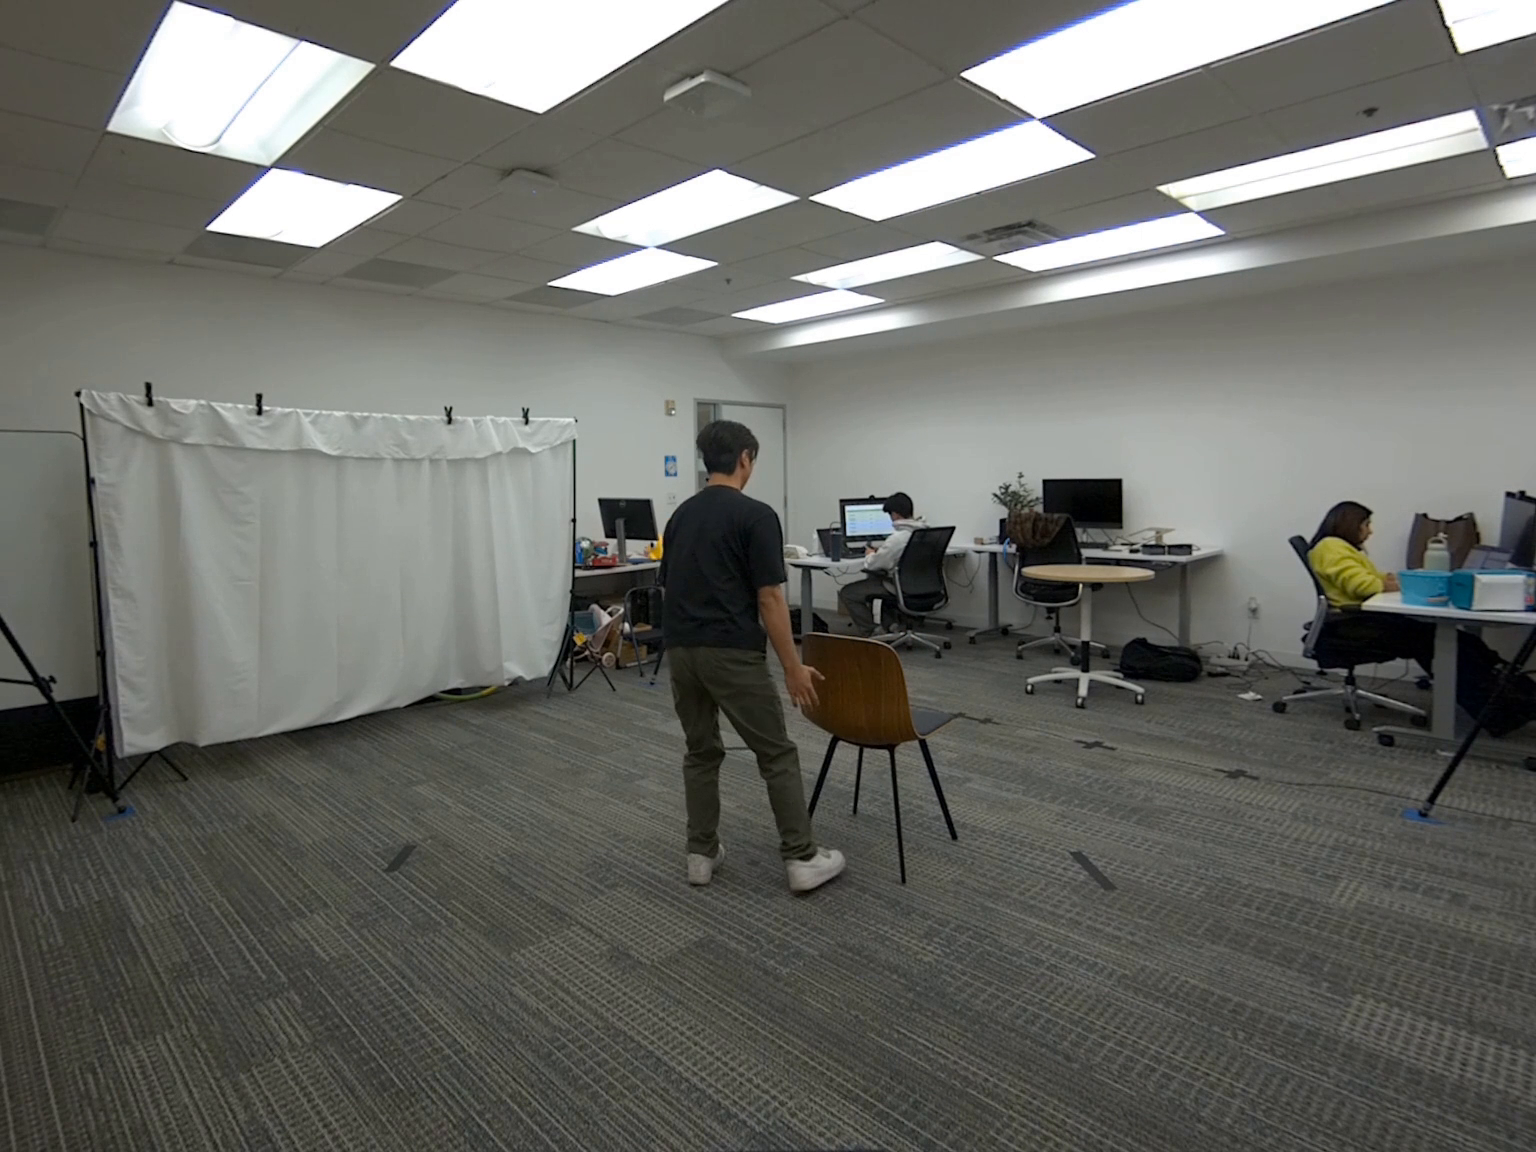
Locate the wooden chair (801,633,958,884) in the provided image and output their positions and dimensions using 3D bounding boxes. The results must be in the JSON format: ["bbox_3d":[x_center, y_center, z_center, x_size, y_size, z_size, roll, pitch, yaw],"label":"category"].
[{"bbox_3d":[0.413,0.595,3.214,0.492,0.871,0.512,2,9,36],"label":"wooden chair"}]
